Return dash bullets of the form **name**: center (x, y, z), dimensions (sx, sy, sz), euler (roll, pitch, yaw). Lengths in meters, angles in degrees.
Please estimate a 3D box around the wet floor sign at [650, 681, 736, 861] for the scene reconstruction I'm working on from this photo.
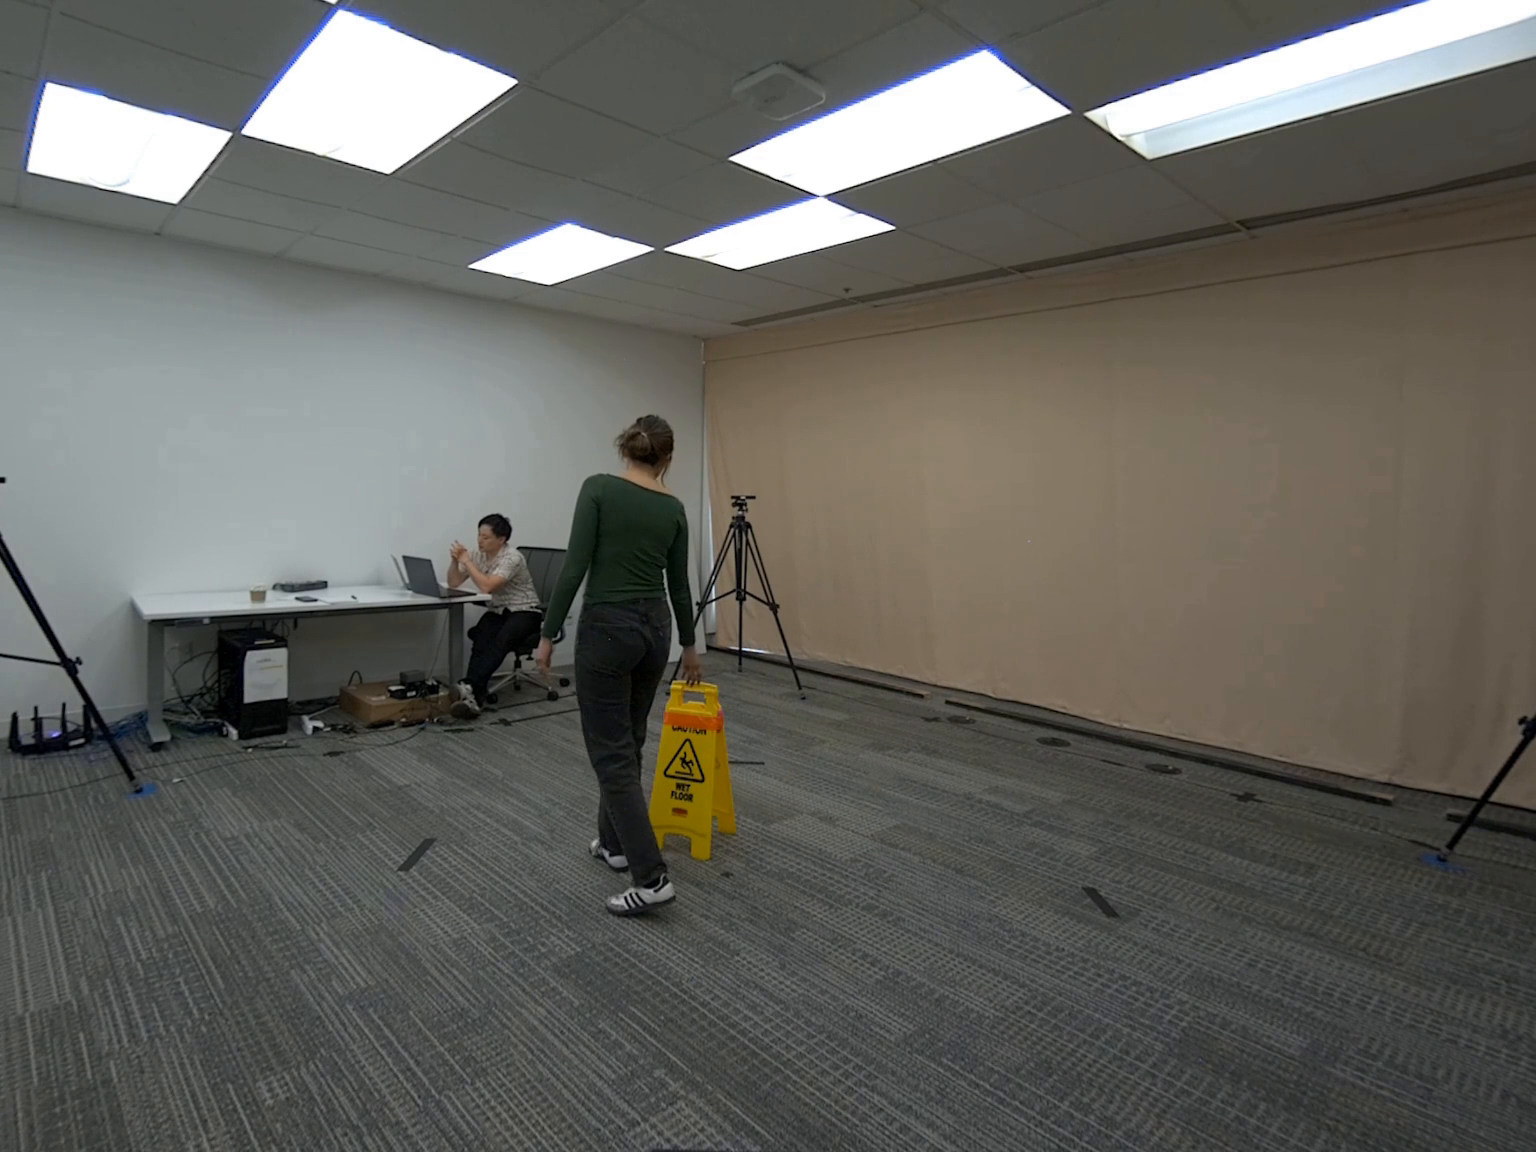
- **wet floor sign**: center (-0.312, 0.750, 3.386), dimensions (0.287, 0.644, 0.286), euler (1, 4, 20)
